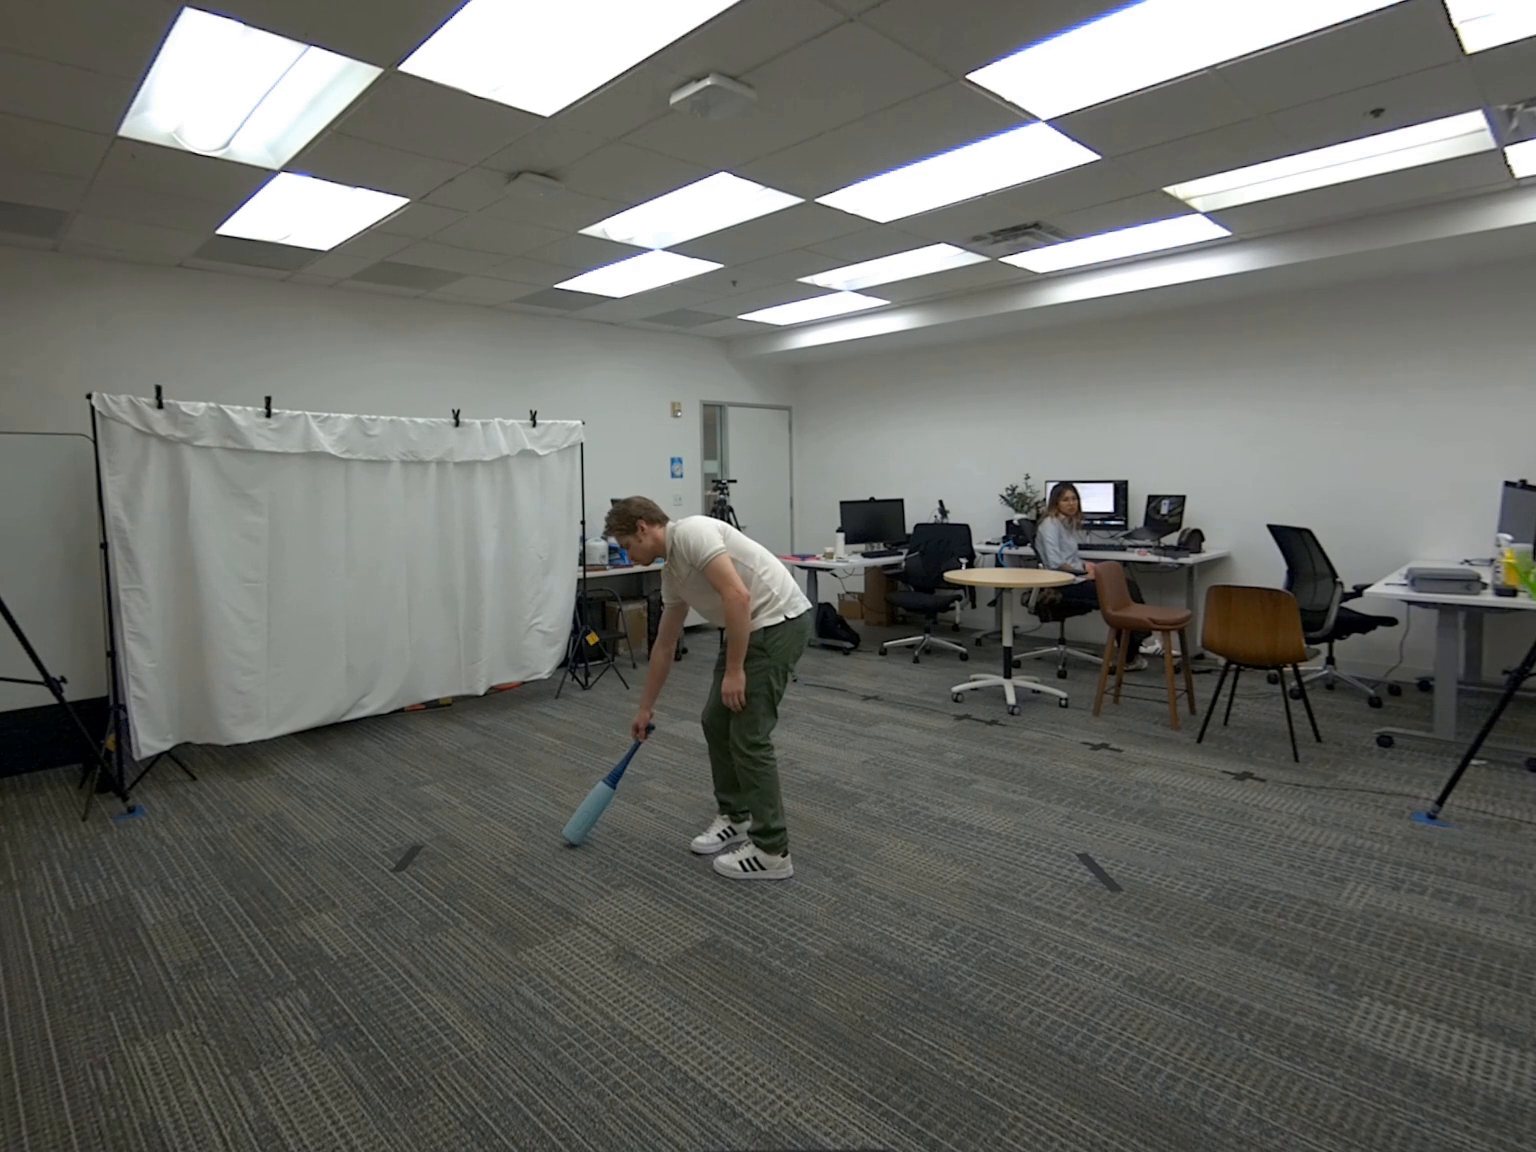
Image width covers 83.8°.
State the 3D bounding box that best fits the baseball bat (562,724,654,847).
[{"bbox_3d":[-0.612,0.812,3.350,0.090,0.544,0.088,34,-14,8],"label":"baseball bat"}]
